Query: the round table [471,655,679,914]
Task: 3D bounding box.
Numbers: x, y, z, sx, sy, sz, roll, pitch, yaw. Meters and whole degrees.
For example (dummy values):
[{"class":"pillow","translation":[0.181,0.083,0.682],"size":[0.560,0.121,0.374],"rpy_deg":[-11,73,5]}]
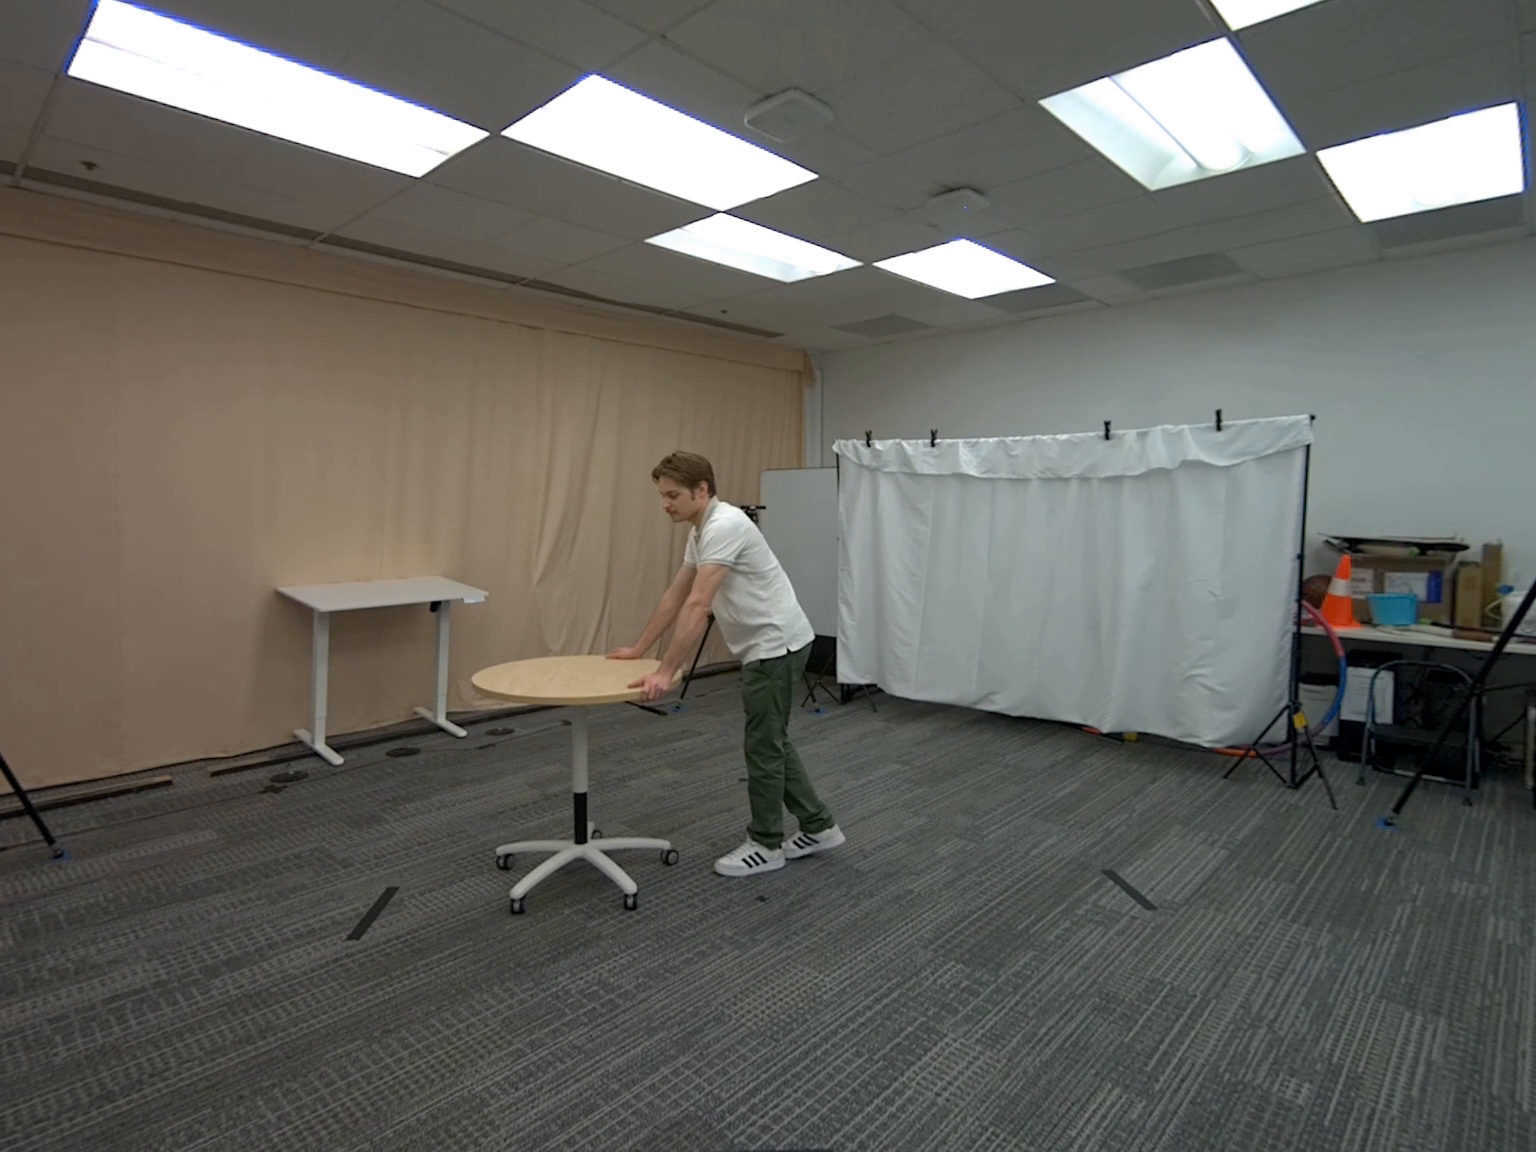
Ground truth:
[{"class":"round table","translation":[-0.701,0.752,3.140],"size":[0.763,0.792,0.766],"rpy_deg":[0,3,-2]}]
